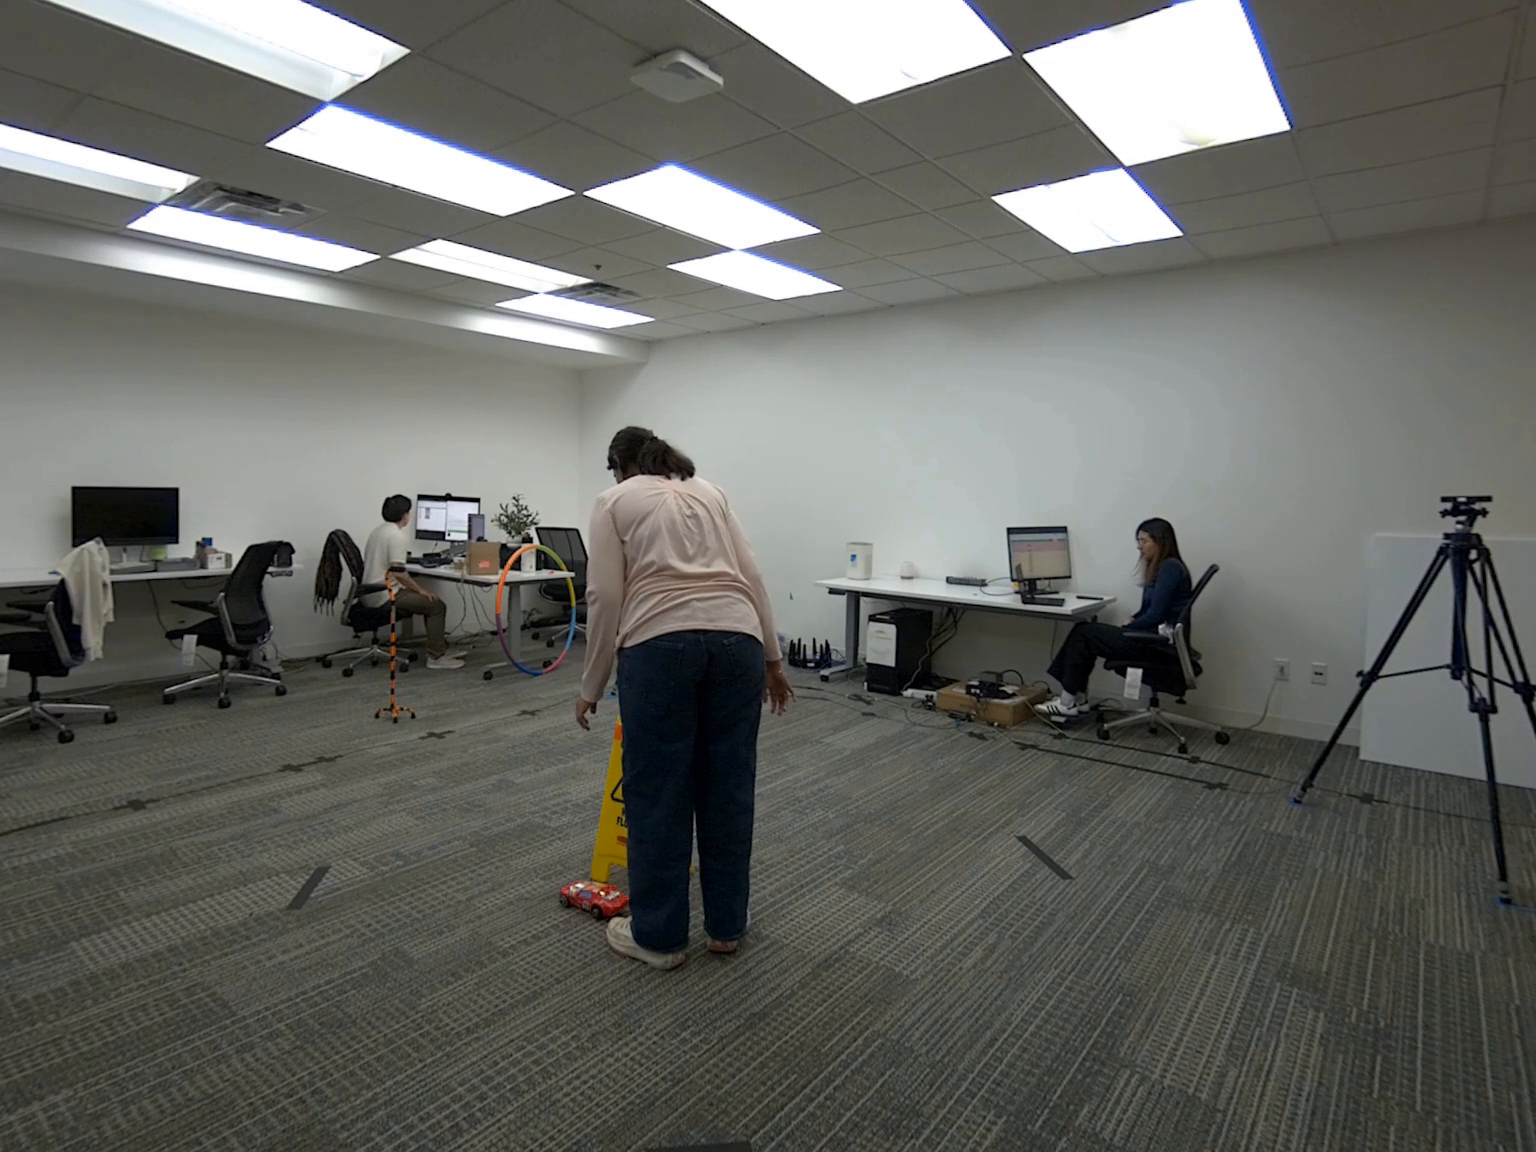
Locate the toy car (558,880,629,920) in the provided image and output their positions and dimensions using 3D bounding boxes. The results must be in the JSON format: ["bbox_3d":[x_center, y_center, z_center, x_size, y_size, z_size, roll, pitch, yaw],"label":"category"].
[{"bbox_3d":[-0.579,1.061,2.795,0.261,0.083,0.127,-7,-1,34],"label":"toy car"}]
